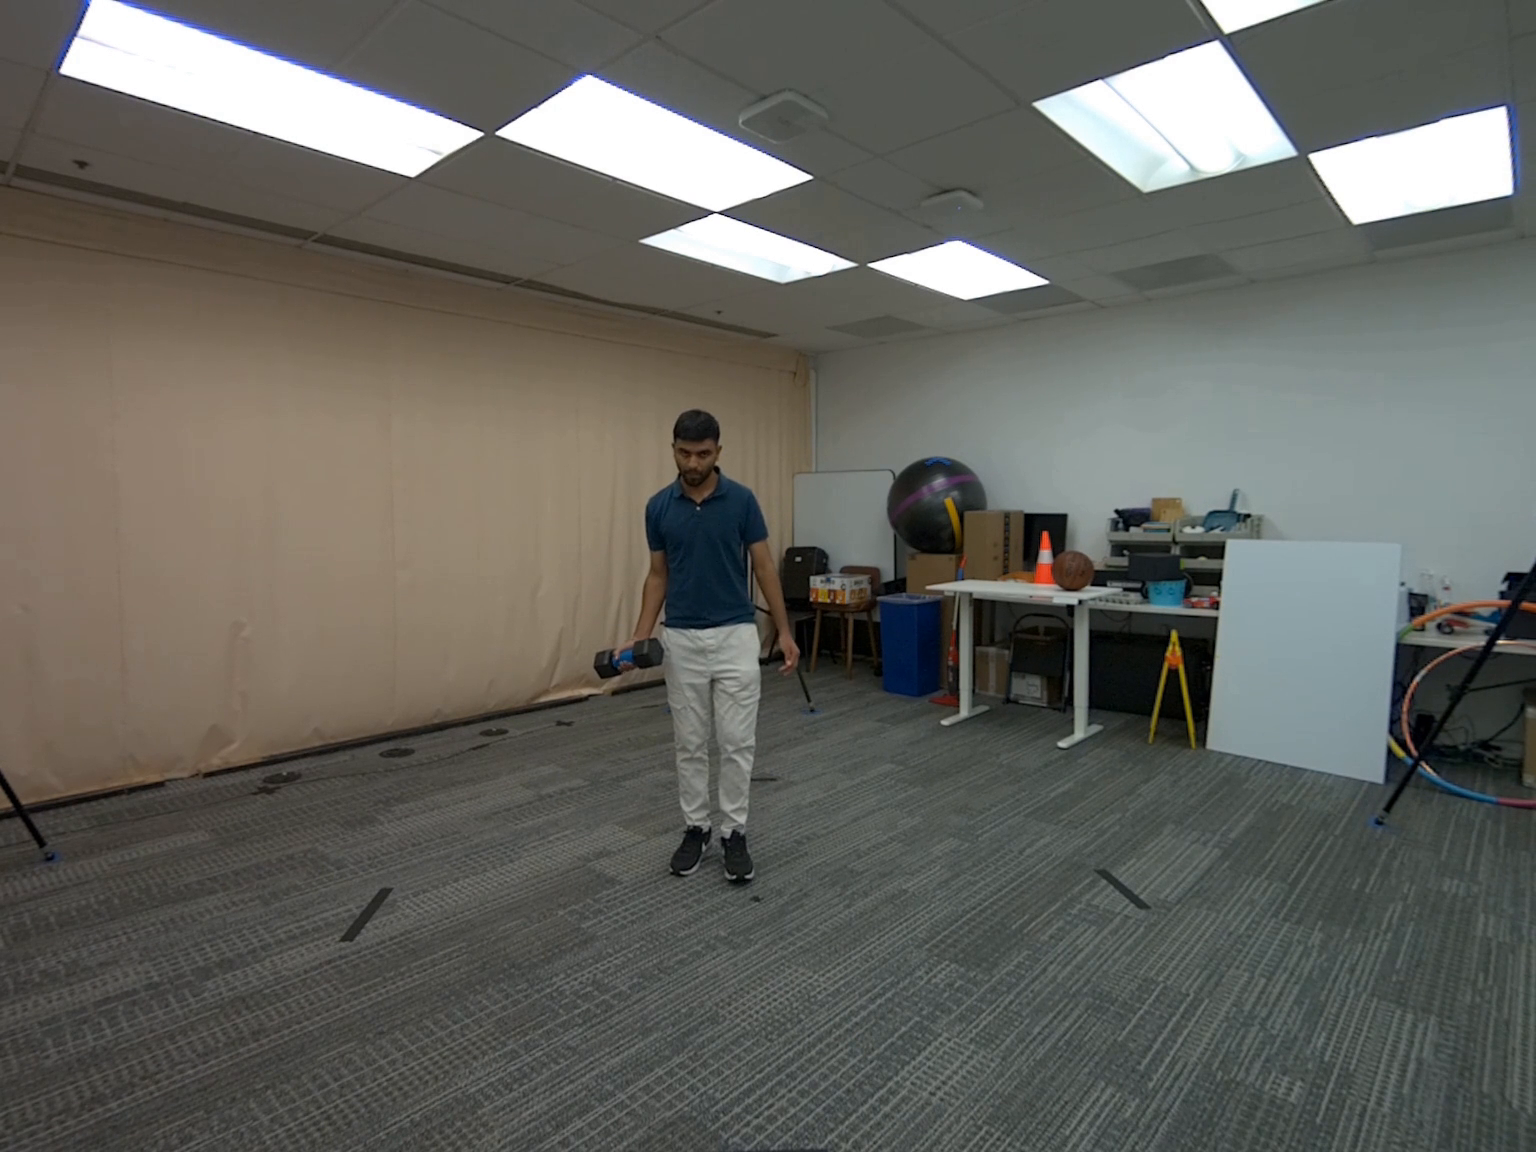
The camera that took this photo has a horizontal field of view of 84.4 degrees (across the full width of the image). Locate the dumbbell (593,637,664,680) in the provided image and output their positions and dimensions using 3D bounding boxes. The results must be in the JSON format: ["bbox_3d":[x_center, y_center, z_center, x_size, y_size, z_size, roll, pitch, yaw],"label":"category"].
[{"bbox_3d":[-0.530,0.318,3.241,0.300,0.109,0.119,-16,-10,33],"label":"dumbbell"}]
